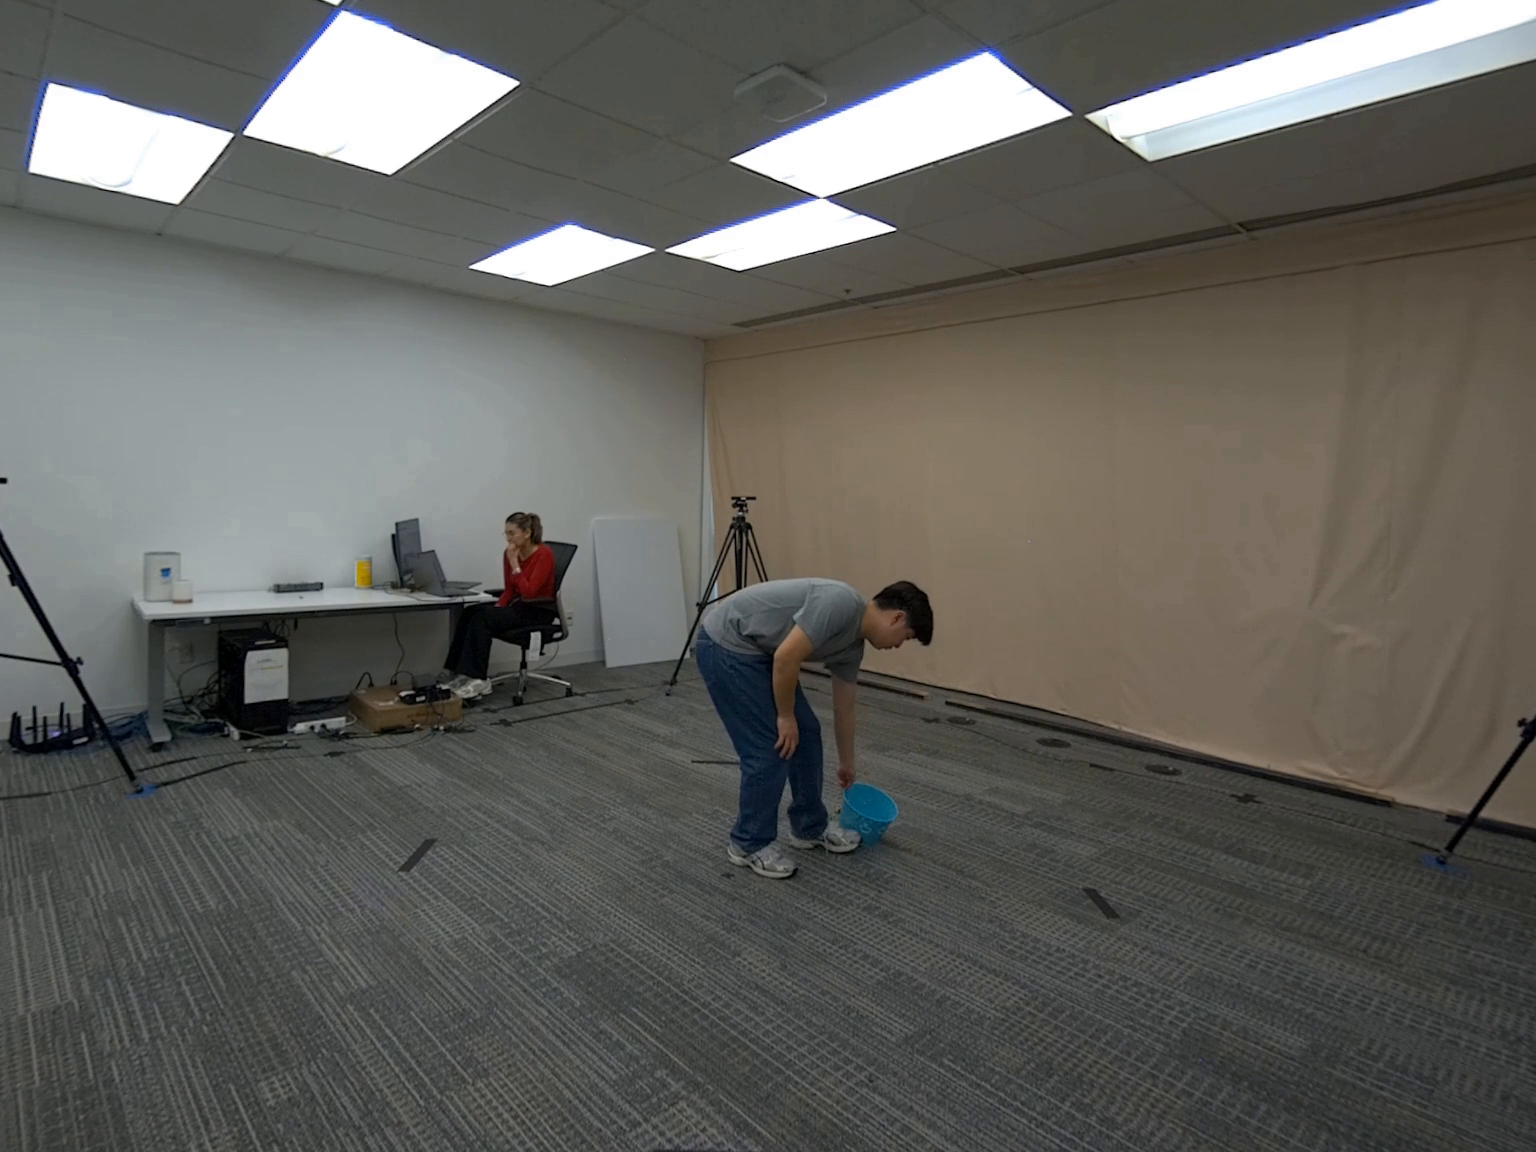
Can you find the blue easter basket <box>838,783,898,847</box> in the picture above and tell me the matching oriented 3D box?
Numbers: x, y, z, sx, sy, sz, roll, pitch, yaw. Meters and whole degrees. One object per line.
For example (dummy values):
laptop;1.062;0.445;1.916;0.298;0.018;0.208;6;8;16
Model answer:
blue easter basket;0.390;0.986;3.451;0.242;0.154;0.247;14;22;-7
